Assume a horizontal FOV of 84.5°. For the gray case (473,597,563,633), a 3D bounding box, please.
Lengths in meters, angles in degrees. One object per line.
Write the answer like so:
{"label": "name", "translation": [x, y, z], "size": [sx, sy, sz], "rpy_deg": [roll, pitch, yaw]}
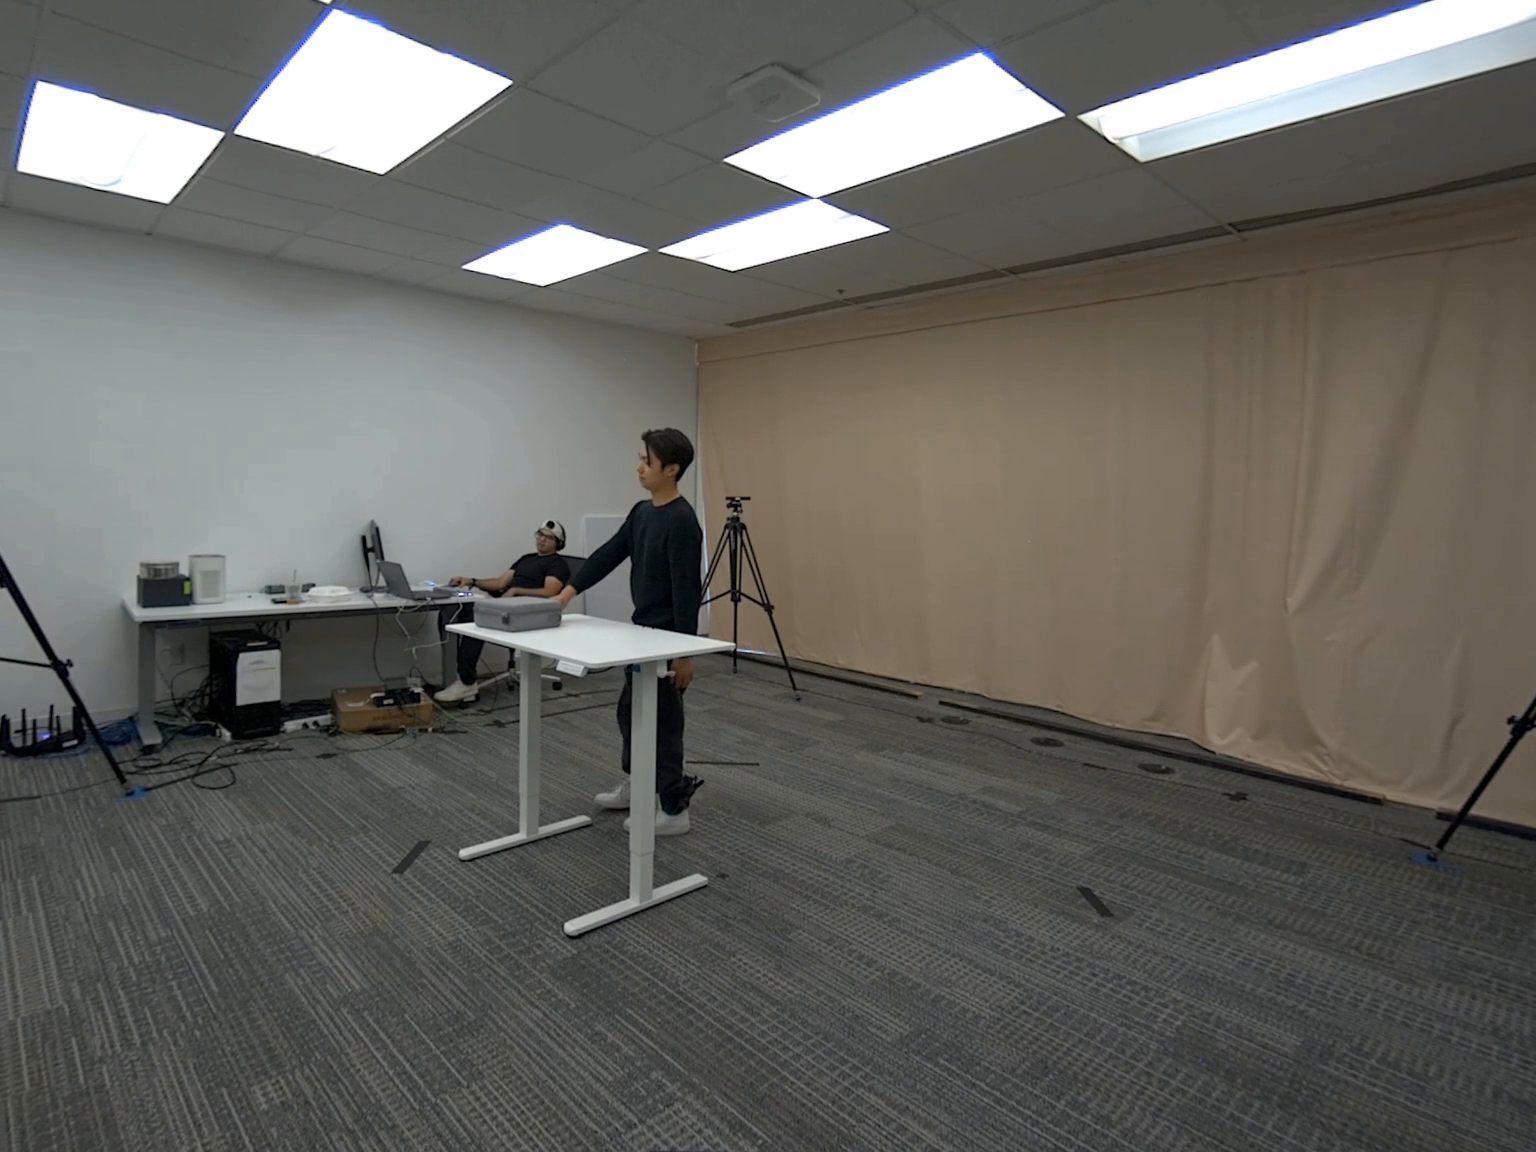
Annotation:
{"label": "gray case", "translation": [-0.962, 0.142, 3.243], "size": [0.263, 0.104, 0.255], "rpy_deg": [3, 3, 35]}
